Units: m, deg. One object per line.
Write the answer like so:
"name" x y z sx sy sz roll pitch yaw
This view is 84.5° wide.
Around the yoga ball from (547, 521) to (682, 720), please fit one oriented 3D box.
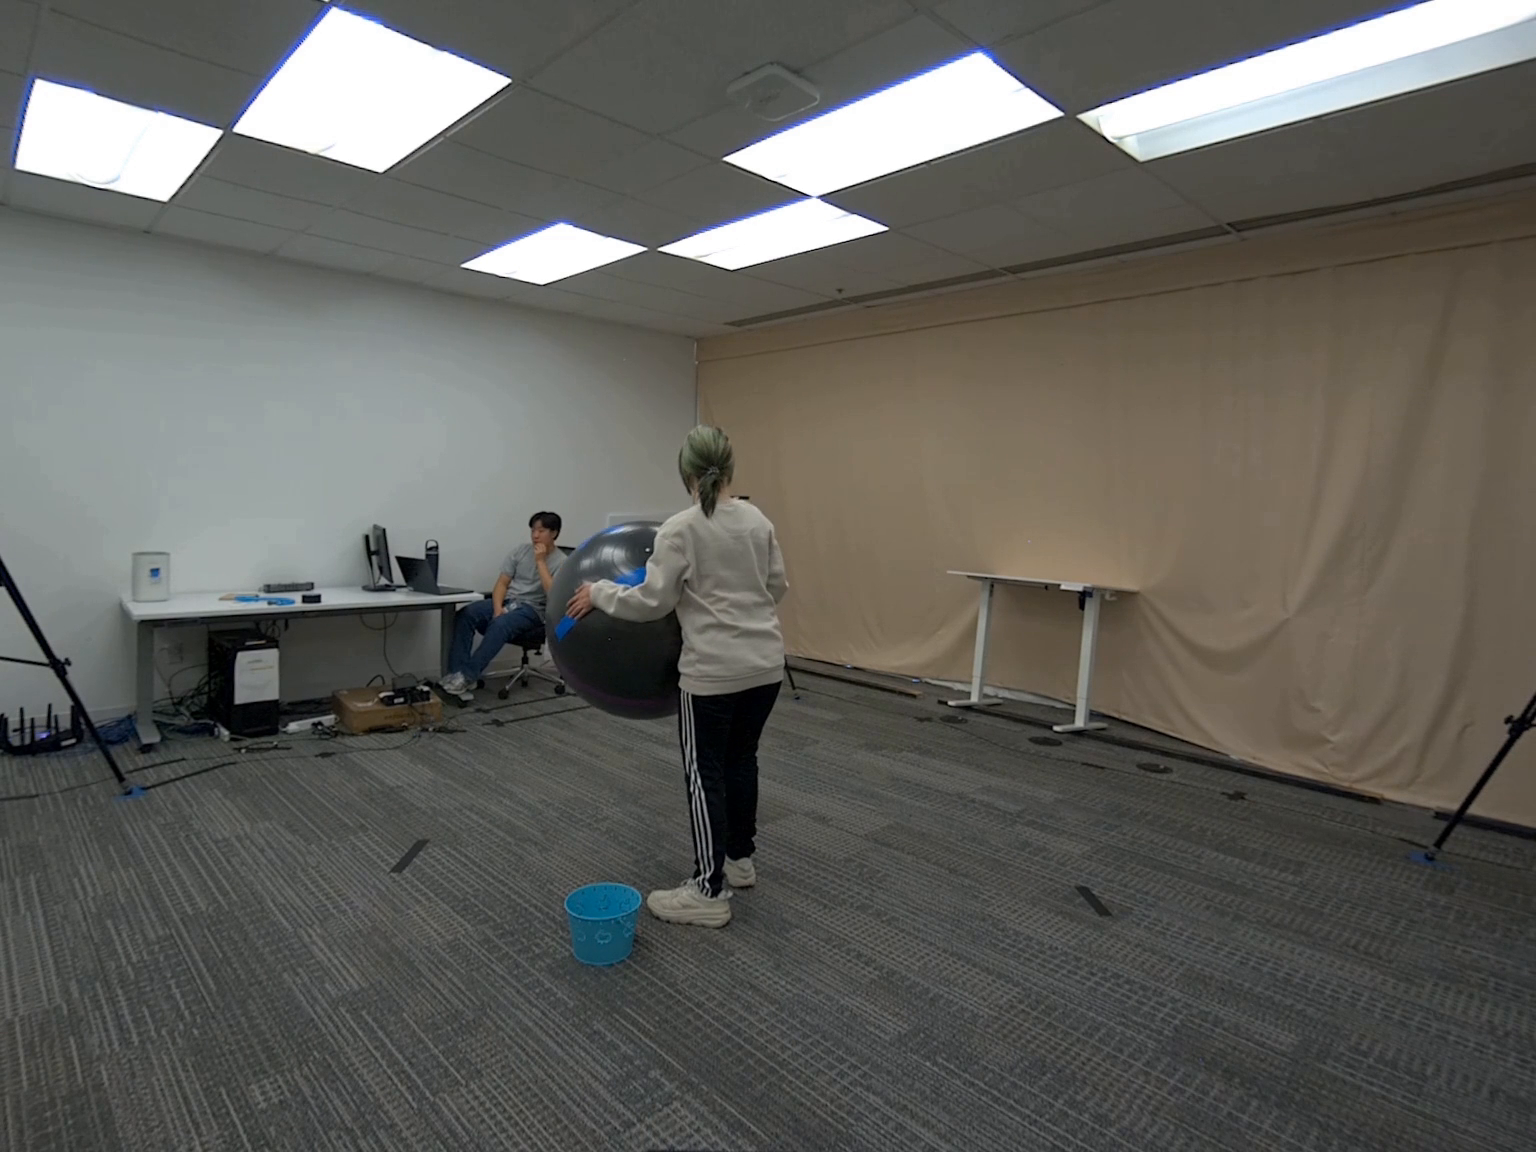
"yoga ball" -0.481 0.170 3.260 0.757 0.756 0.761 1 4 -1
